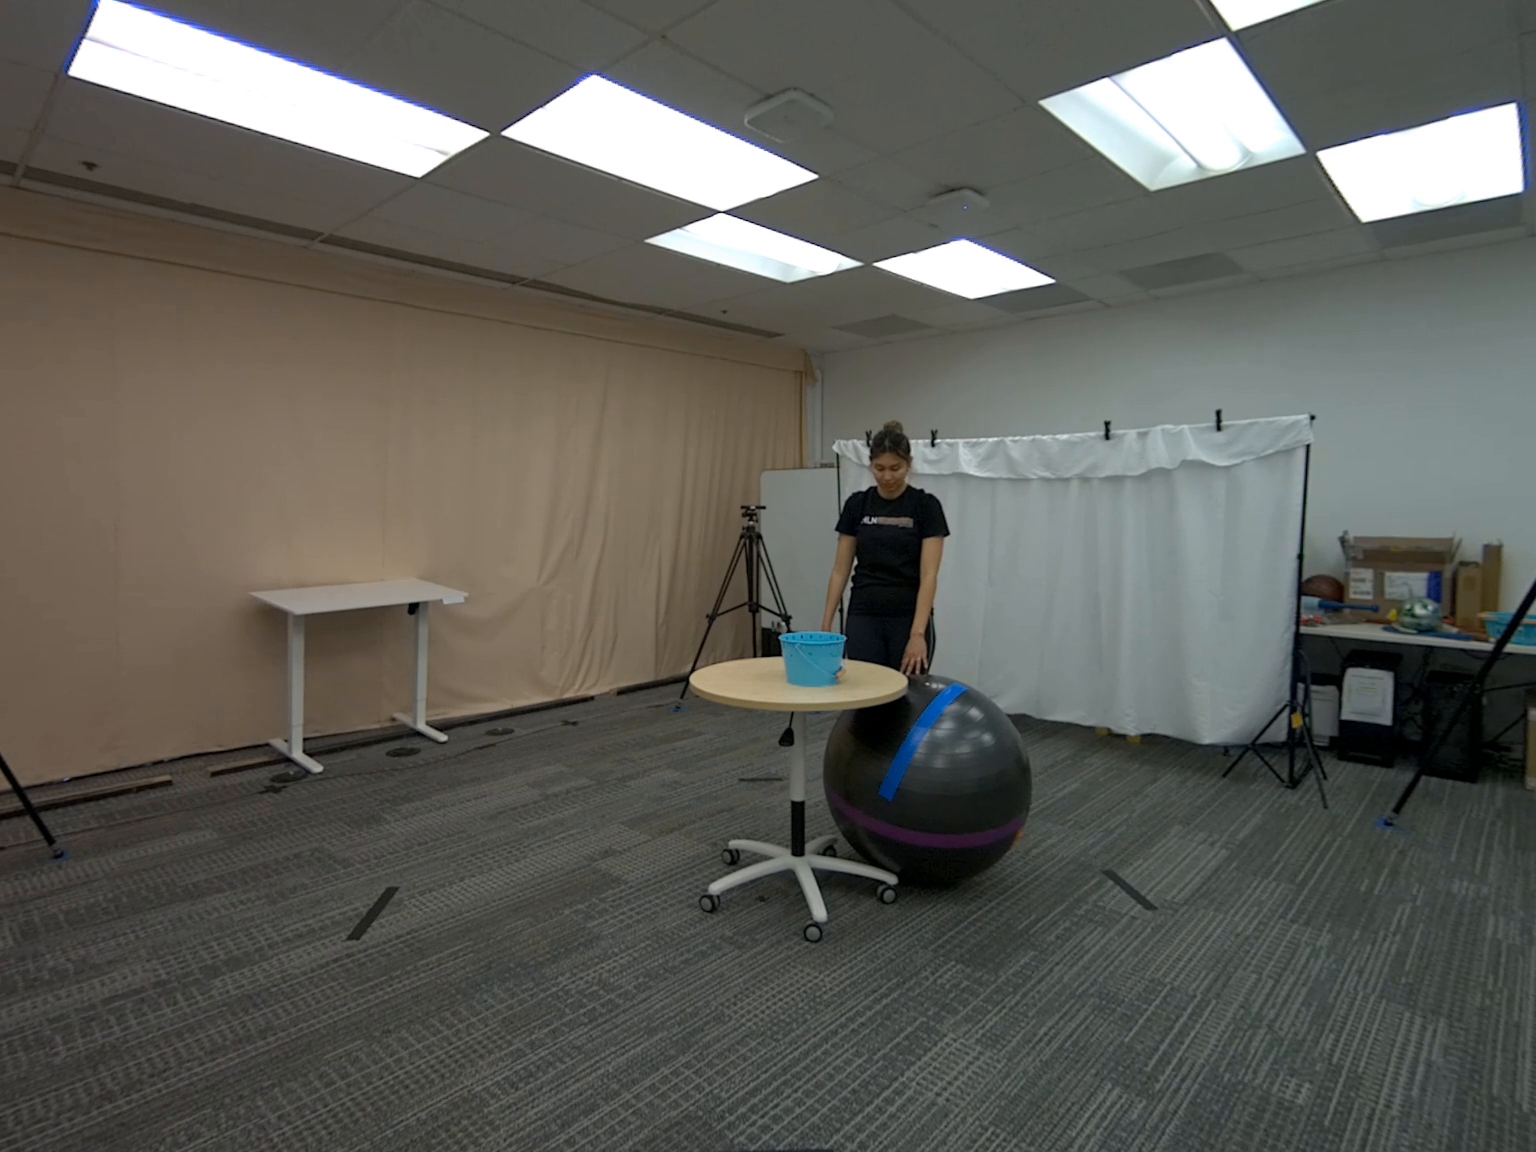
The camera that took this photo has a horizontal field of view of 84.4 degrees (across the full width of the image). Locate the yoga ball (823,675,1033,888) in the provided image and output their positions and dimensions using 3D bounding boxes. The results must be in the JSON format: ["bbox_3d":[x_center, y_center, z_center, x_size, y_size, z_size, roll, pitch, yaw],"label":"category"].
[{"bbox_3d":[0.605,0.758,3.161,0.757,0.756,0.761,0,4,-2],"label":"yoga ball"}]
